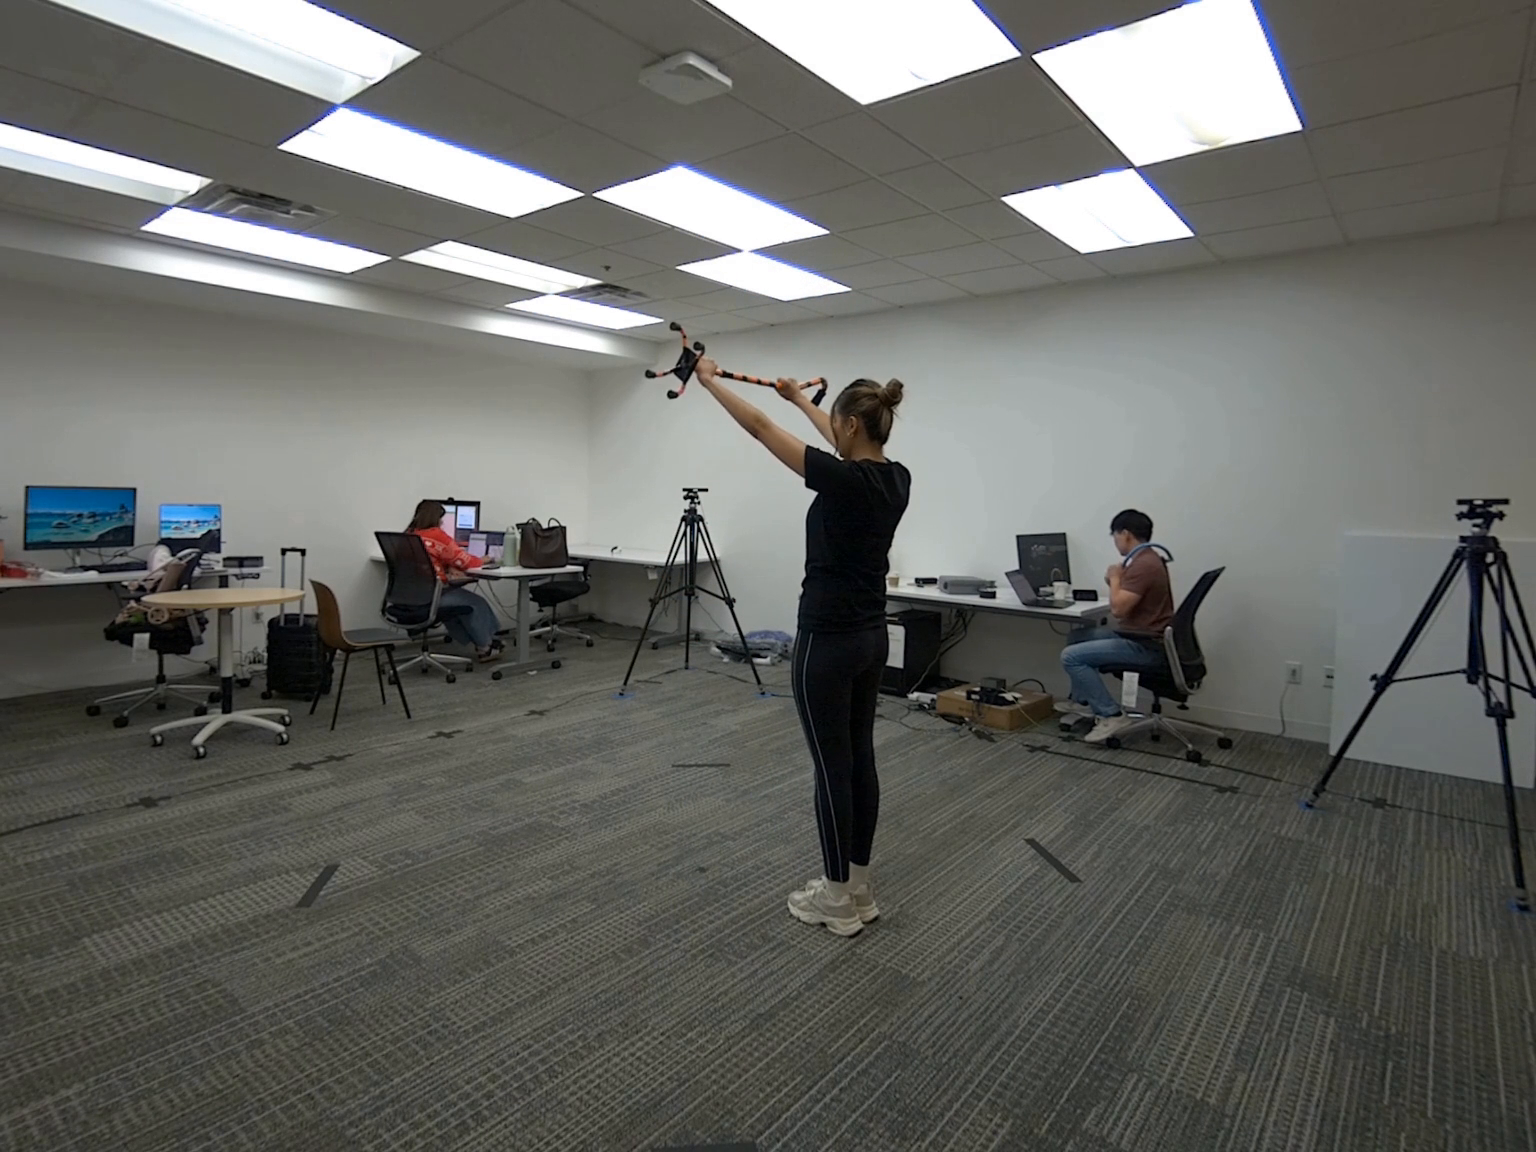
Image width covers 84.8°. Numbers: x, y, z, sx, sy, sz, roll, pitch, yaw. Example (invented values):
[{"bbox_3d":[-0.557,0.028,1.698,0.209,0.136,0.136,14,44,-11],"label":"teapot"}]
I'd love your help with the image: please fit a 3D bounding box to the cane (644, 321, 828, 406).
[{"bbox_3d":[-0.051,-0.714,3.047,0.157,0.205,0.882,46,28,25],"label":"cane"}]
